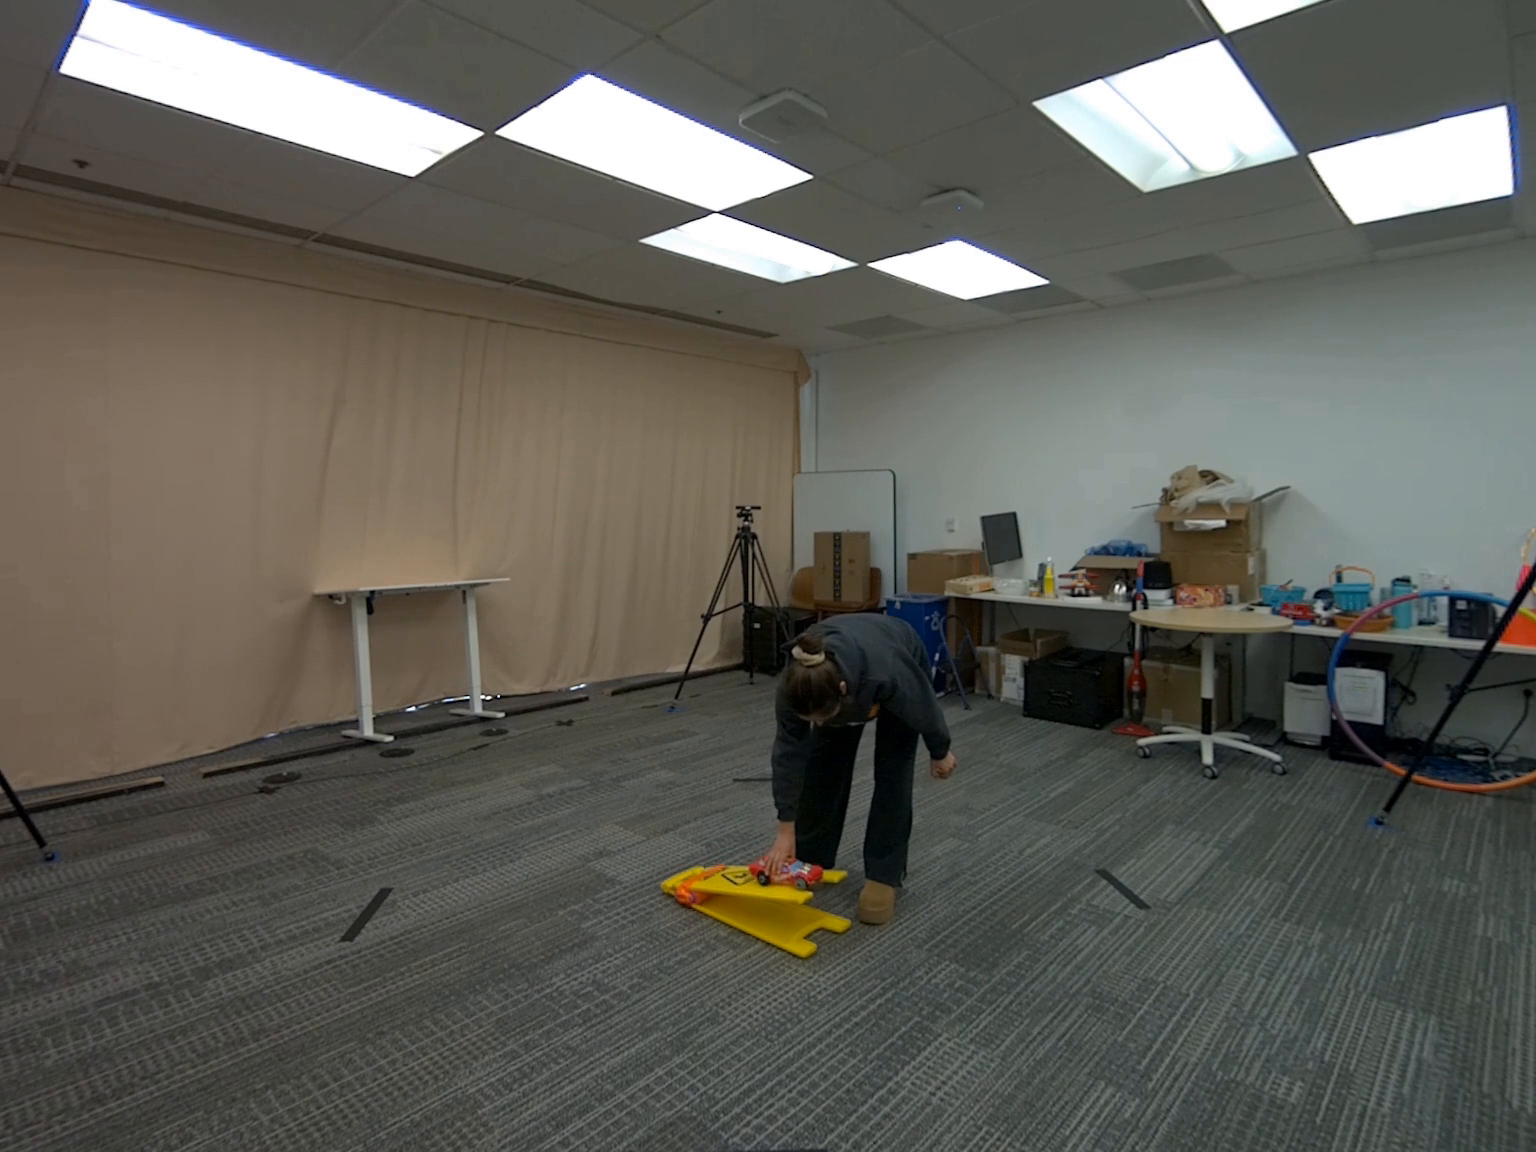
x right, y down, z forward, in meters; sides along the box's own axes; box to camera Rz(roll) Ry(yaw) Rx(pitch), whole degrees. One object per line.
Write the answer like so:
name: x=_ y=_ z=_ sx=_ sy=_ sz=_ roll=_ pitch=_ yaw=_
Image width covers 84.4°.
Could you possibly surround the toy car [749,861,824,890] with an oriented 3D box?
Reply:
toy car: x=0.075 y=0.974 z=2.765 sx=0.263 sy=0.083 sz=0.126 roll=3 pitch=4 yaw=37
